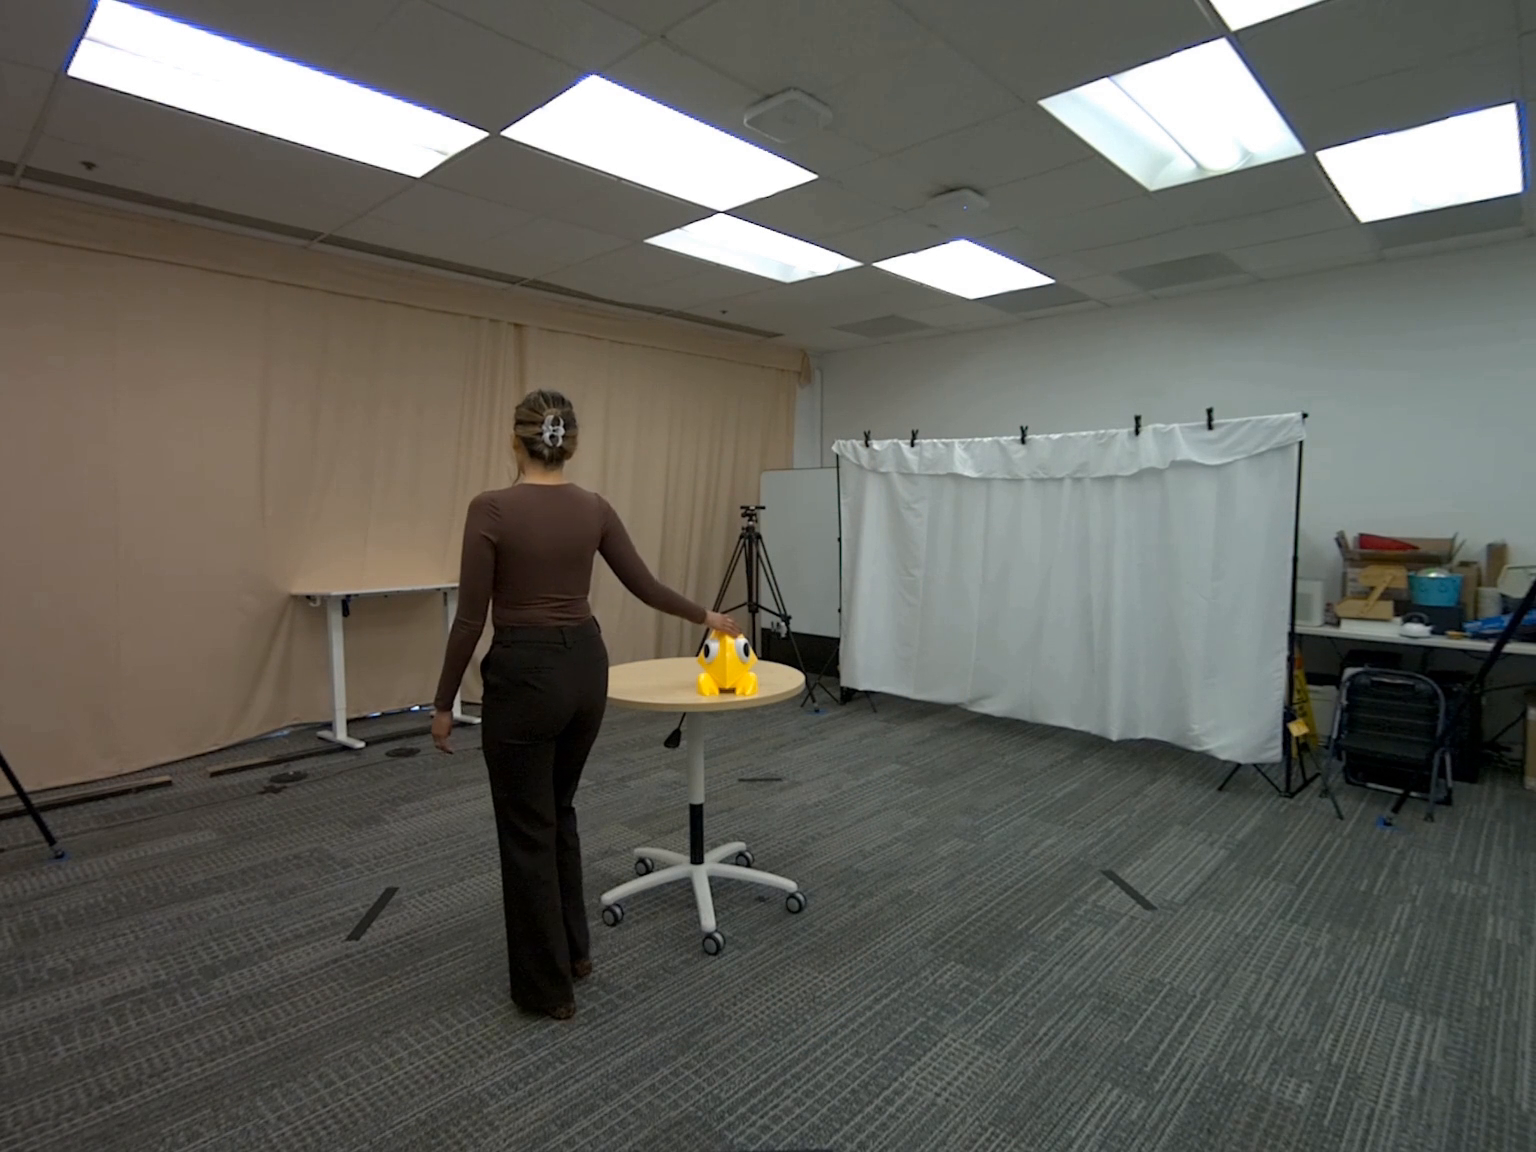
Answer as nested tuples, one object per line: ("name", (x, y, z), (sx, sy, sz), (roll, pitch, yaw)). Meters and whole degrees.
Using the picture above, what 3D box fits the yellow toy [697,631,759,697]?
("yellow toy", (-0.131, 0.254, 2.722), (0.205, 0.230, 0.193), (0, 3, 0))
